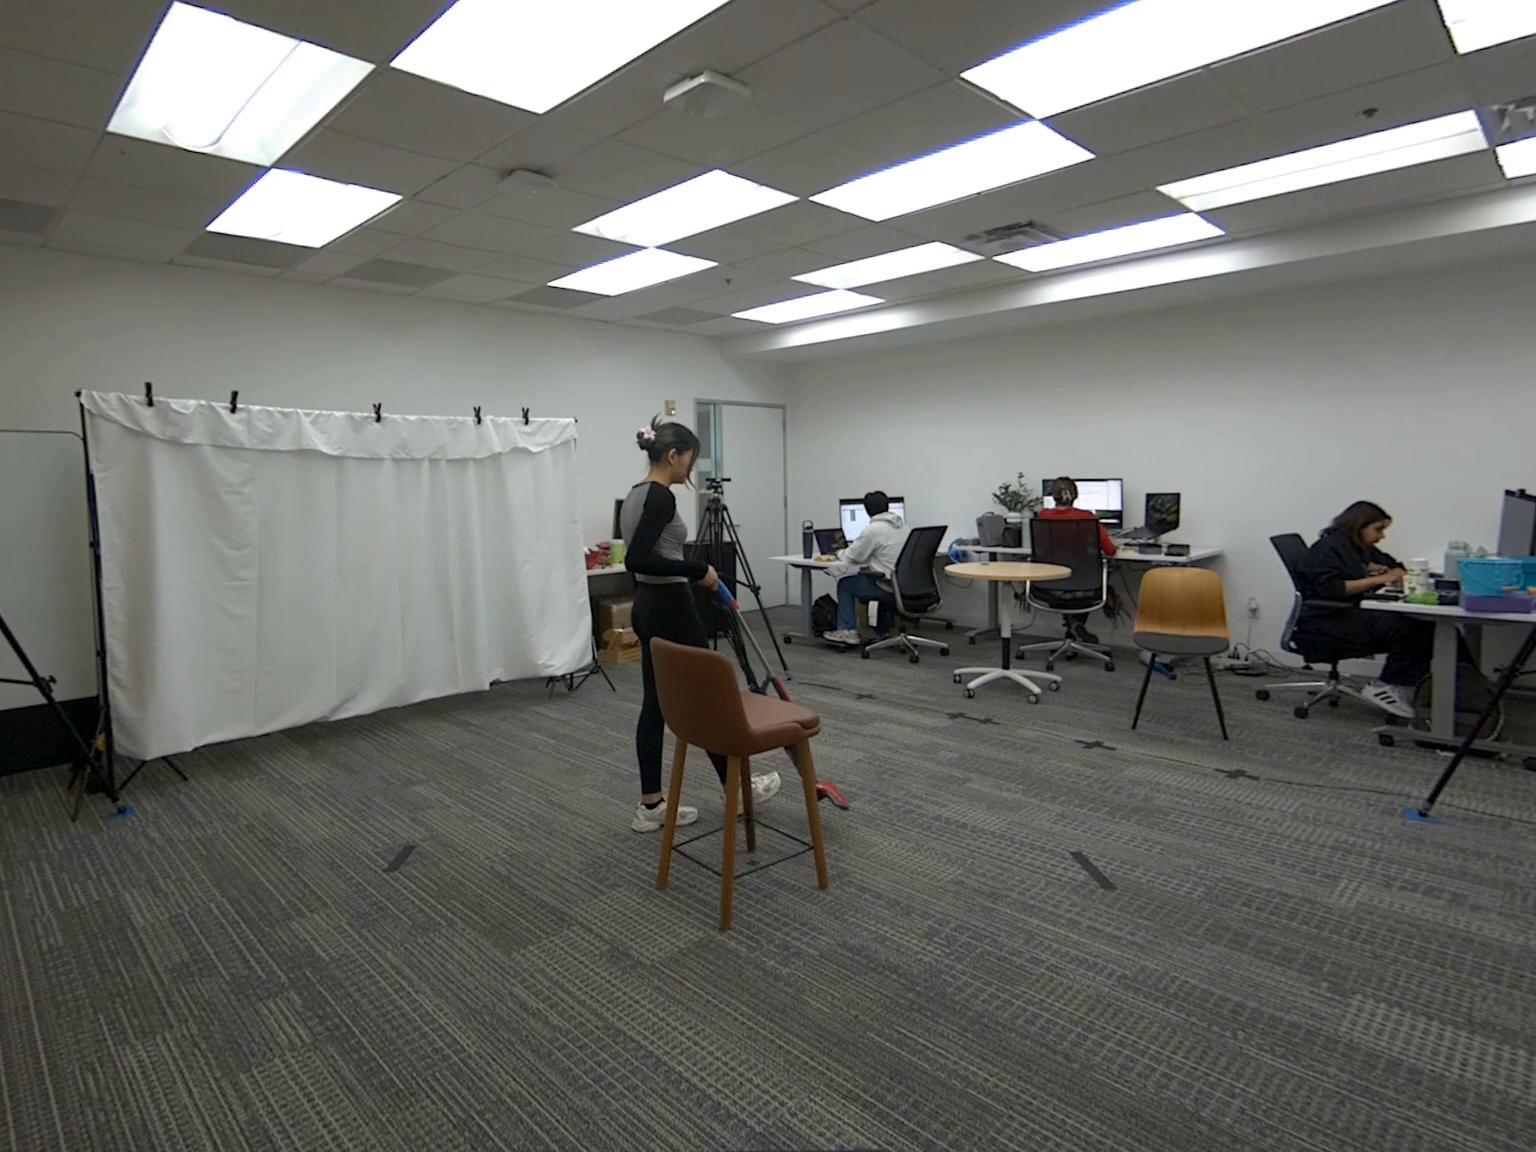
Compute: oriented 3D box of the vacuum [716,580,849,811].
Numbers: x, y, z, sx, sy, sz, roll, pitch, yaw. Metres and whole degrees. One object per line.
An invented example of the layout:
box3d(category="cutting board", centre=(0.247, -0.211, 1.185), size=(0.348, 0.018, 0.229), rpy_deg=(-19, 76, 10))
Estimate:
box3d(category="vacuum", centre=(-0.005, 0.422, 3.334), size=(0.144, 1.039, 0.255), rpy_deg=(-28, 8, -2))
